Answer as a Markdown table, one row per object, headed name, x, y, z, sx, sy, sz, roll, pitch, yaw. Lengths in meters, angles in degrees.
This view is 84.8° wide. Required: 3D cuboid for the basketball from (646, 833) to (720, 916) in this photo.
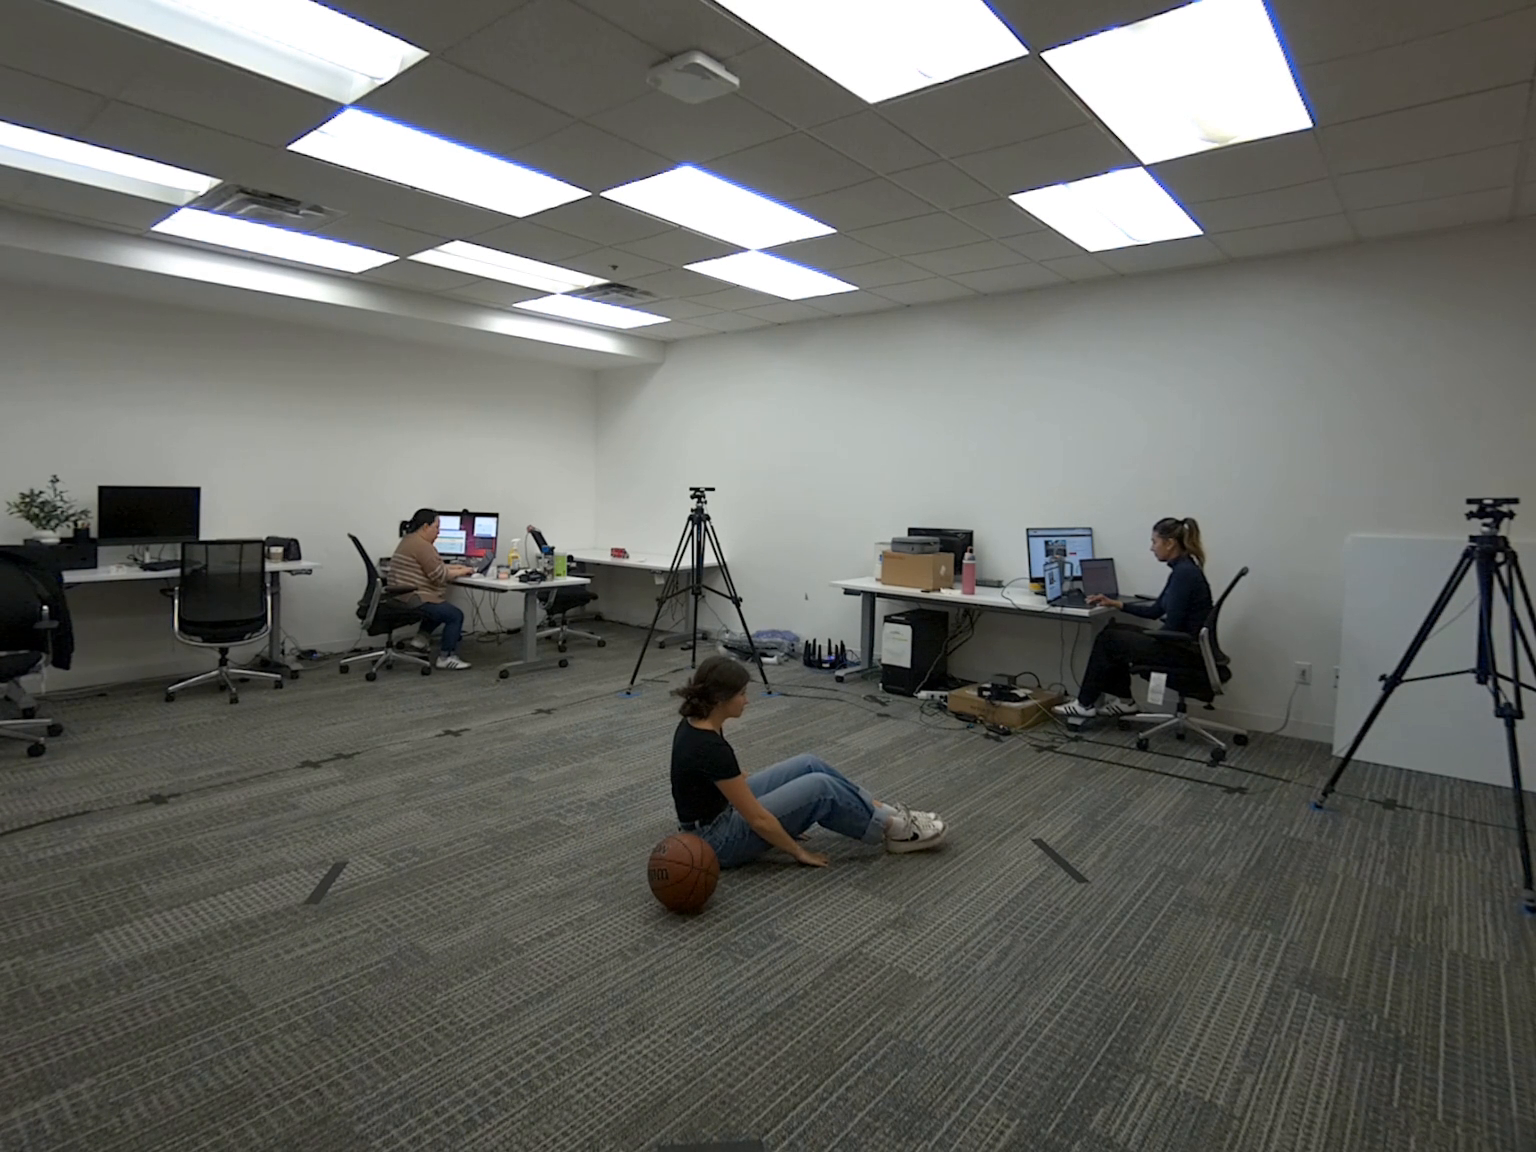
| name | x | y | z | sx | sy | sz | roll | pitch | yaw |
| --- | --- | --- | --- | --- | --- | --- | --- | --- | --- |
| basketball | -0.287 | 0.970 | 2.814 | 0.235 | 0.235 | 0.237 | 1 | 4 | -2 |
